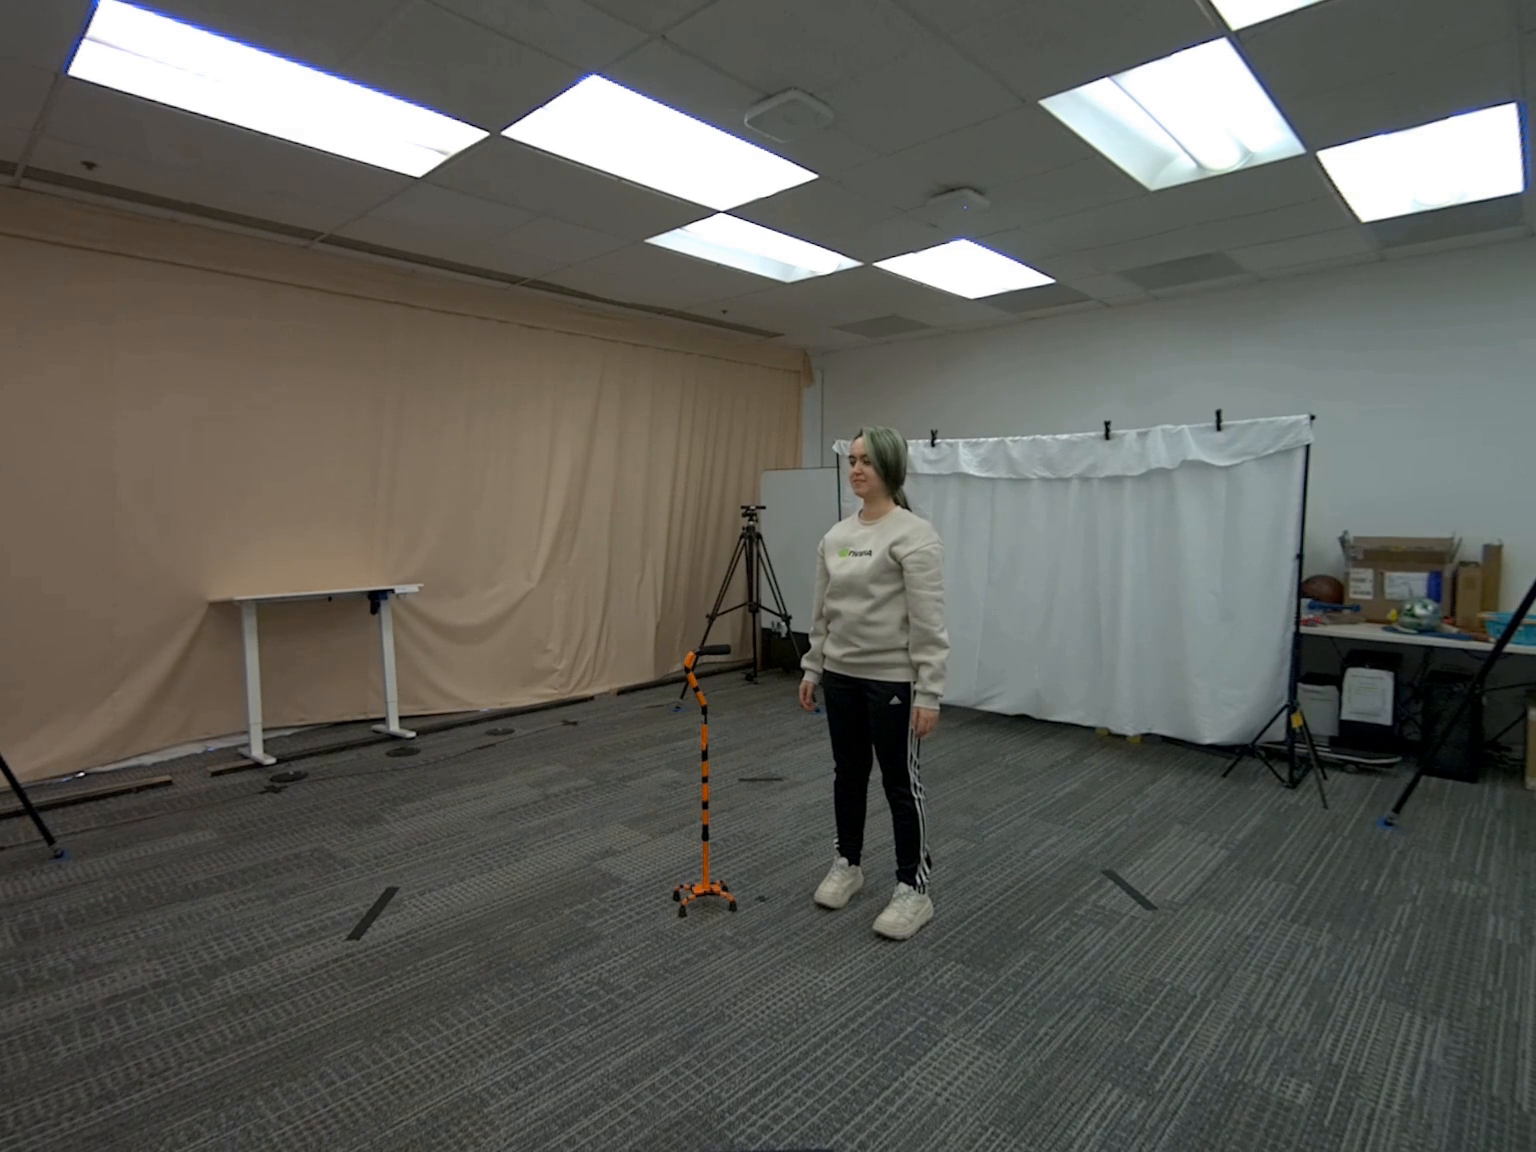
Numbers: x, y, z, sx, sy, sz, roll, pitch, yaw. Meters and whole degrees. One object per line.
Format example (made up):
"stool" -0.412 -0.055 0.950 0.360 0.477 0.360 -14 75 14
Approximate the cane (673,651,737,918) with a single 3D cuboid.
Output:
"cane" -0.224 0.702 2.917 0.204 0.906 0.154 -2 3 -13
